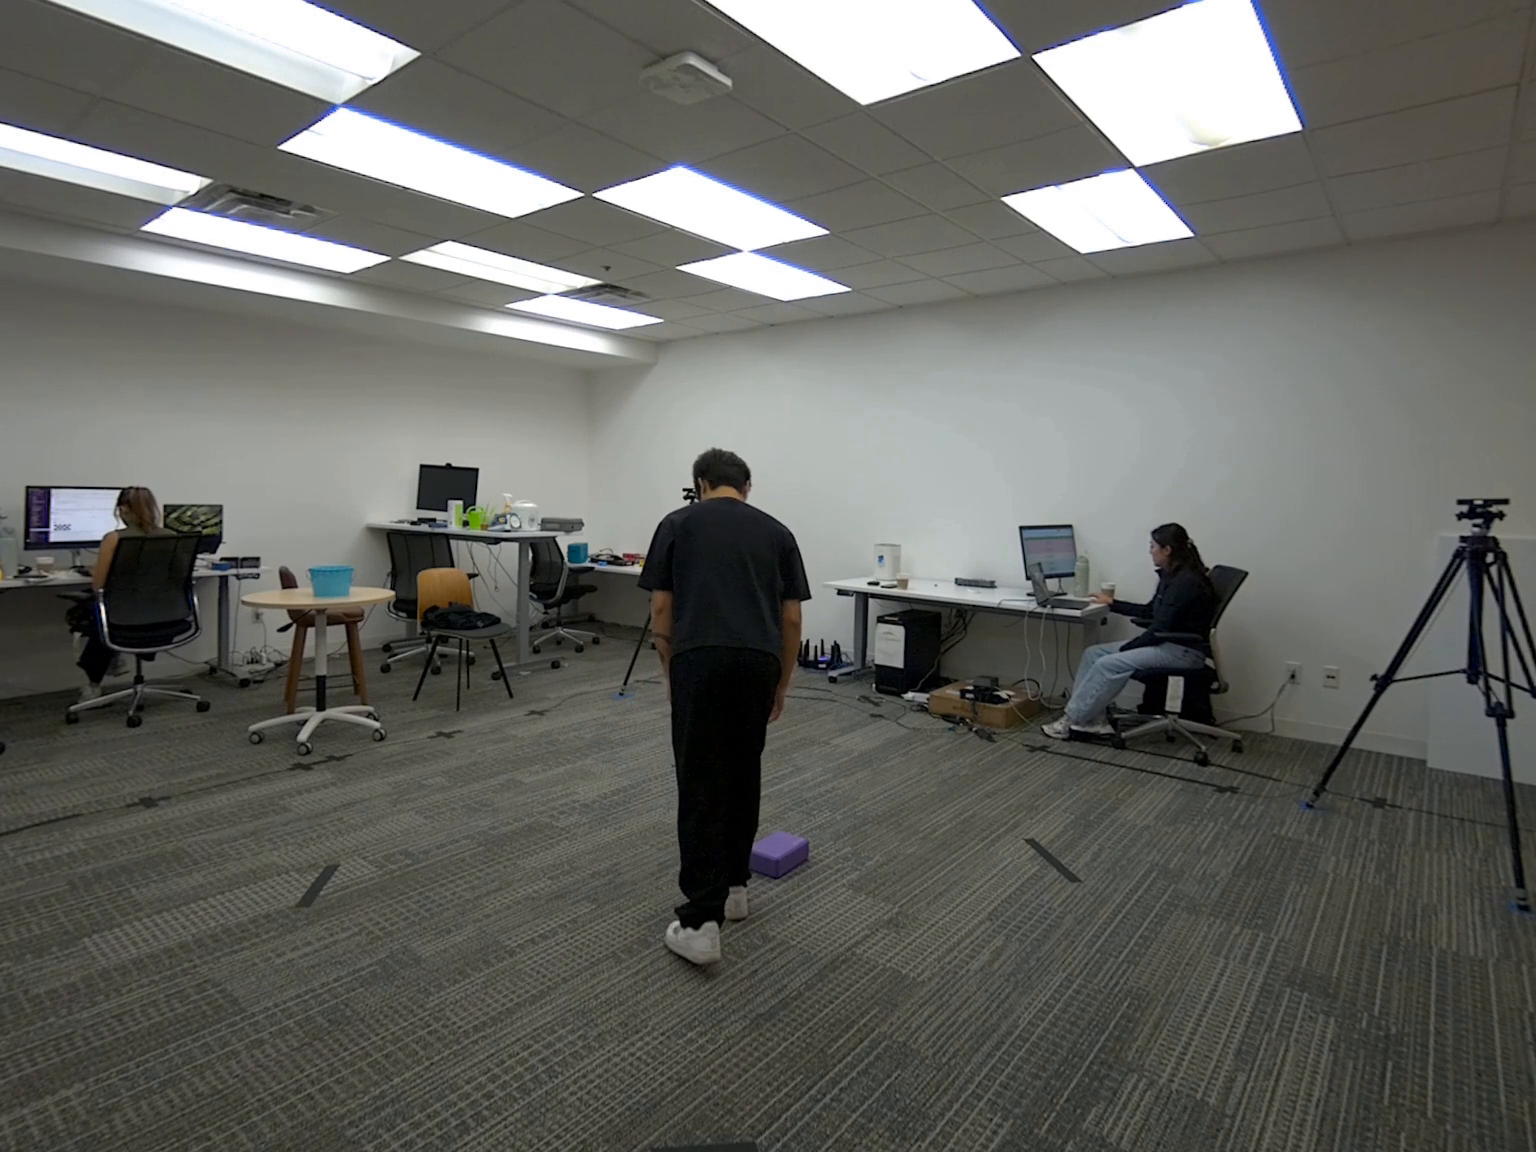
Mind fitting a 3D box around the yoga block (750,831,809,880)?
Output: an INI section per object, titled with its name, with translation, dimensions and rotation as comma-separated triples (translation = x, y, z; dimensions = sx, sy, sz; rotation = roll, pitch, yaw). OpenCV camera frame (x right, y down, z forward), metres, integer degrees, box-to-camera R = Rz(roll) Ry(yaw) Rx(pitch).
[yoga block]
translation = 0.026, 1.027, 3.165
dimensions = 0.154, 0.076, 0.223
rotation = 4, 6, 34
